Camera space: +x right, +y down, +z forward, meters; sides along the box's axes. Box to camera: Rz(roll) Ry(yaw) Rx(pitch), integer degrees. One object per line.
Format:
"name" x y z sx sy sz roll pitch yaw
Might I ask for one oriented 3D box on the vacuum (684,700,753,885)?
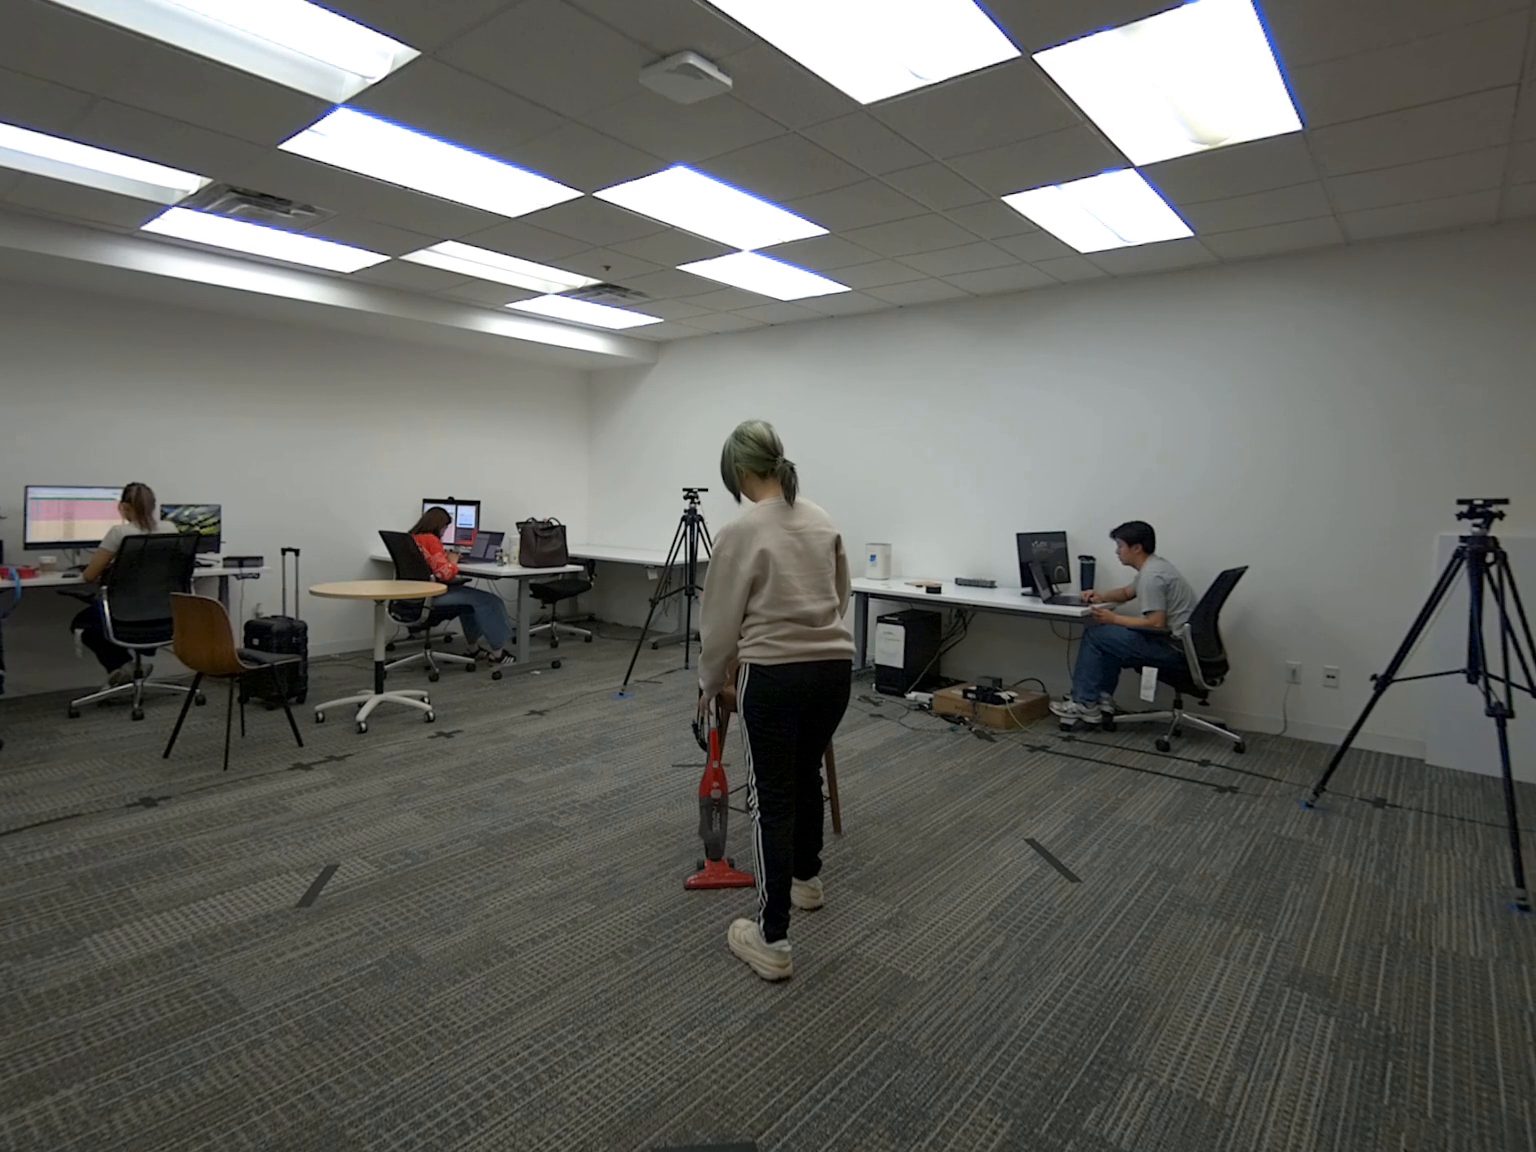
"vacuum" -0.218 0.569 3.208 0.248 1.070 0.144 2 -20 -17
